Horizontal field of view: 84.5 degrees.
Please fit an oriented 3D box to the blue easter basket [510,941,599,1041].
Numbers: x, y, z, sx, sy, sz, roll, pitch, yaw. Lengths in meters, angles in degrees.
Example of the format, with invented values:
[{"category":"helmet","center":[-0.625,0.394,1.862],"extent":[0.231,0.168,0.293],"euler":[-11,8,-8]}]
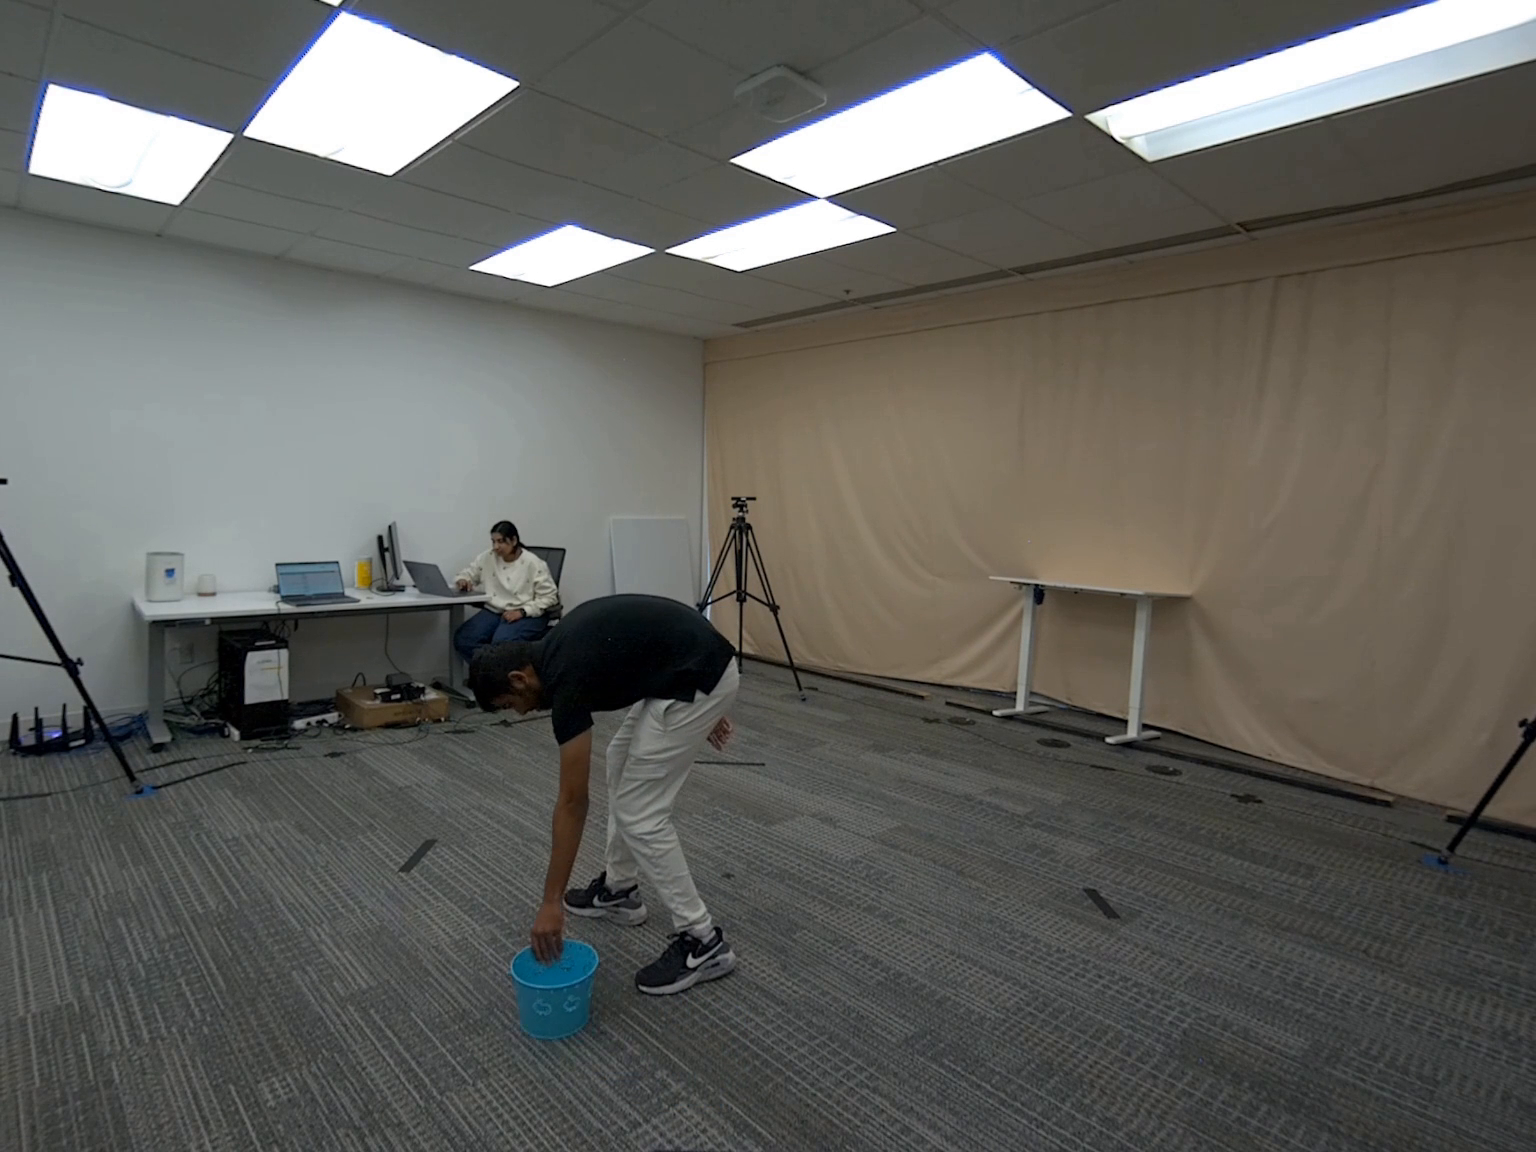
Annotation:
[{"category":"blue easter basket","center":[-0.573,1.100,2.239],"extent":[0.243,0.155,0.244],"euler":[2,5,-2]}]
